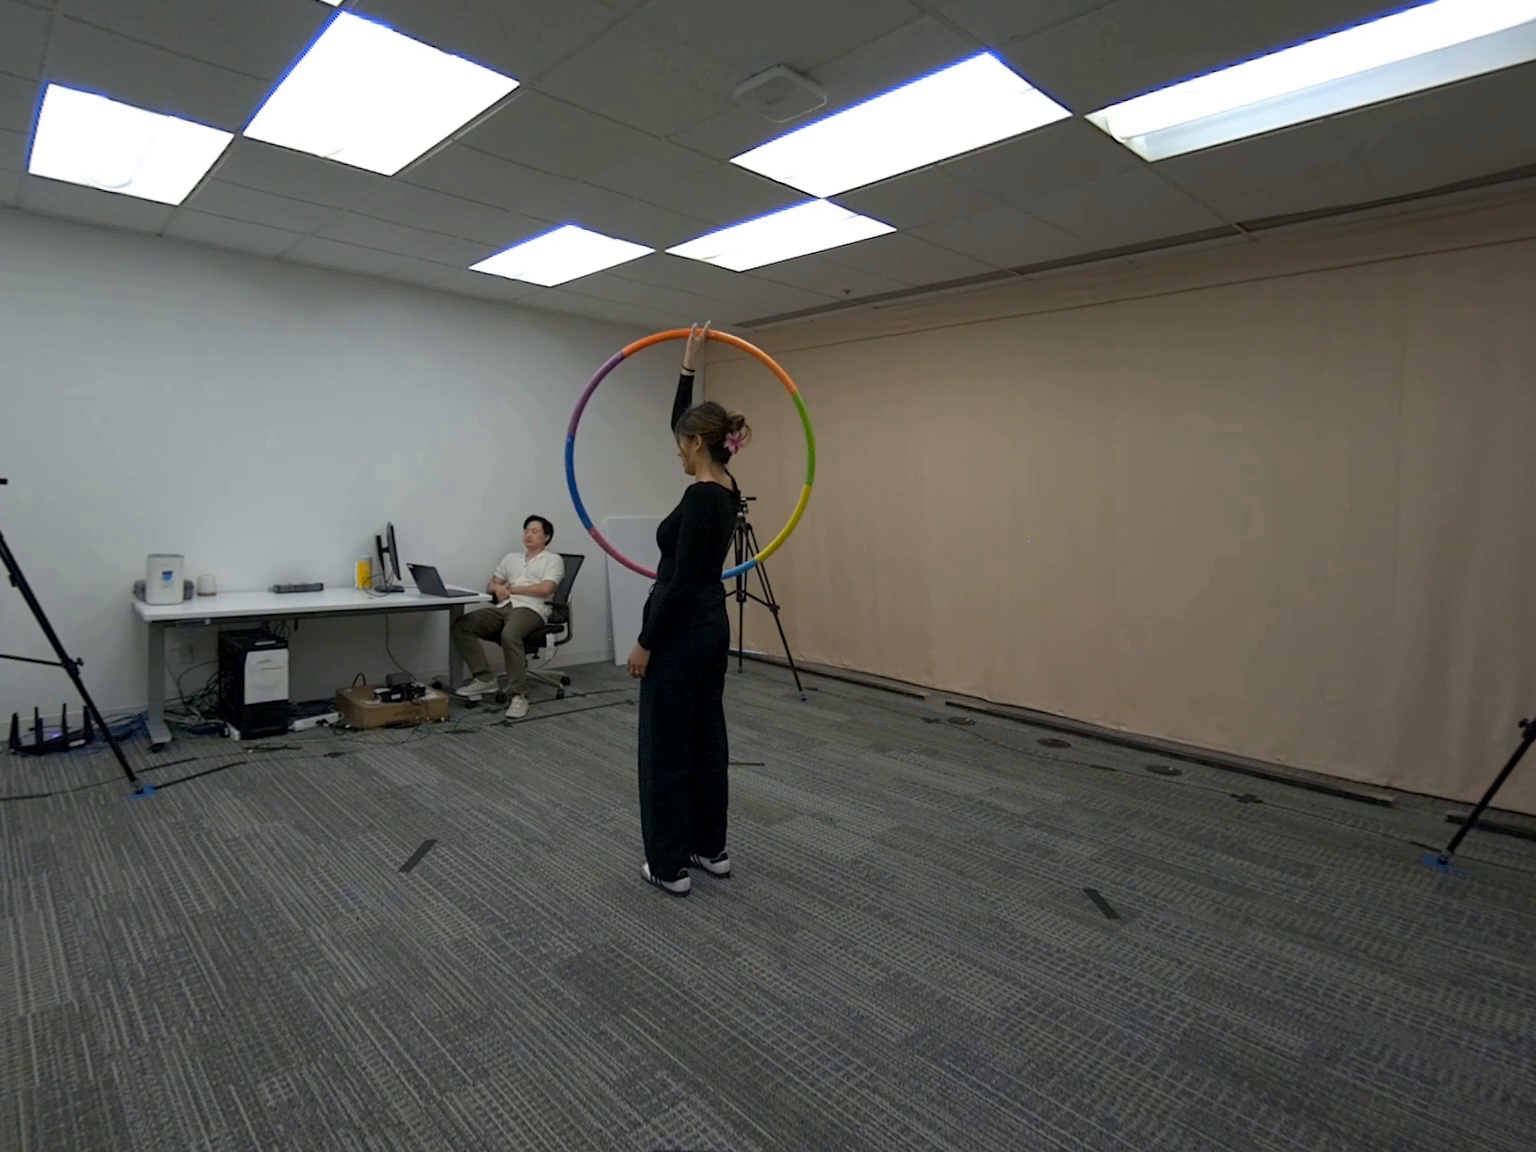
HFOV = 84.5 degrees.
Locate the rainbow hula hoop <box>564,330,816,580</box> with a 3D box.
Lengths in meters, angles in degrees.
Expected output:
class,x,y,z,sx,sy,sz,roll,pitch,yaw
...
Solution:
class,x,y,z,sx,sy,sz,roll,pitch,yaw
rainbow hula hoop,-0.297,-0.455,3.270,0.980,0.978,0.052,1,10,-7
